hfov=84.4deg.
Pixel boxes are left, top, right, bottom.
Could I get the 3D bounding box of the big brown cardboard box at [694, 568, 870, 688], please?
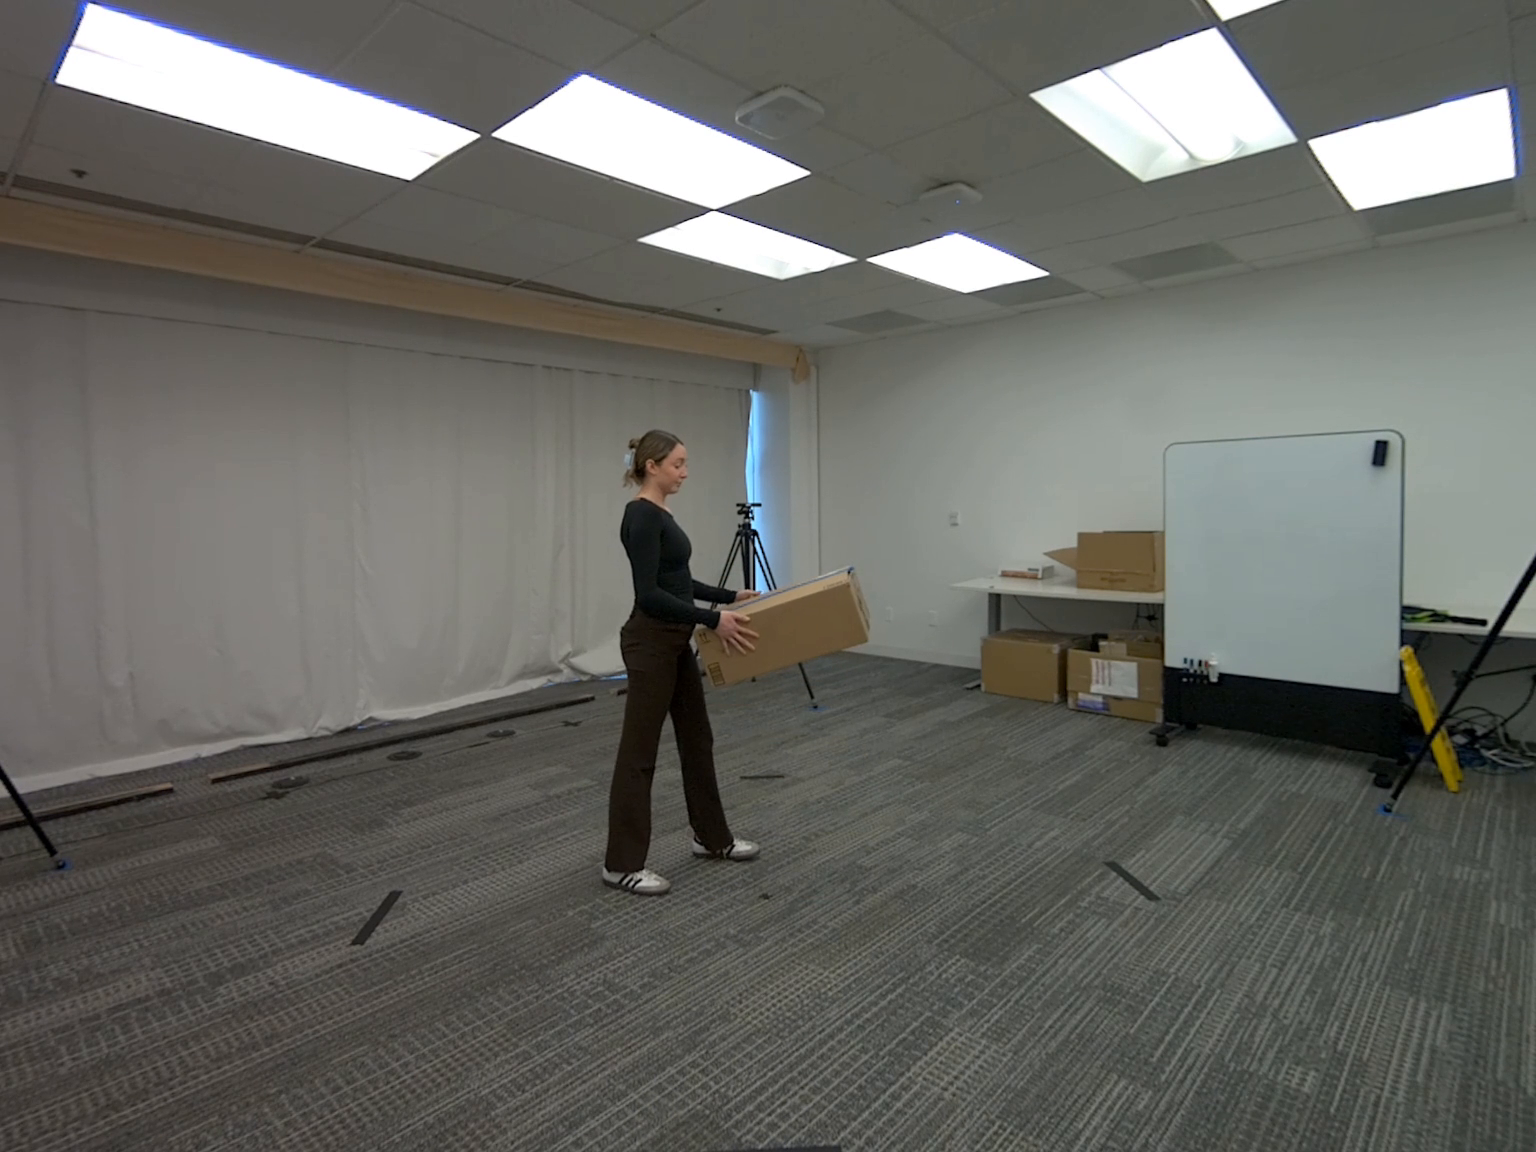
[{"bbox_3d":[0.073,0.168,3.053,0.594,0.232,0.415,-19,5,11],"label":"big brown cardboard box"}]
